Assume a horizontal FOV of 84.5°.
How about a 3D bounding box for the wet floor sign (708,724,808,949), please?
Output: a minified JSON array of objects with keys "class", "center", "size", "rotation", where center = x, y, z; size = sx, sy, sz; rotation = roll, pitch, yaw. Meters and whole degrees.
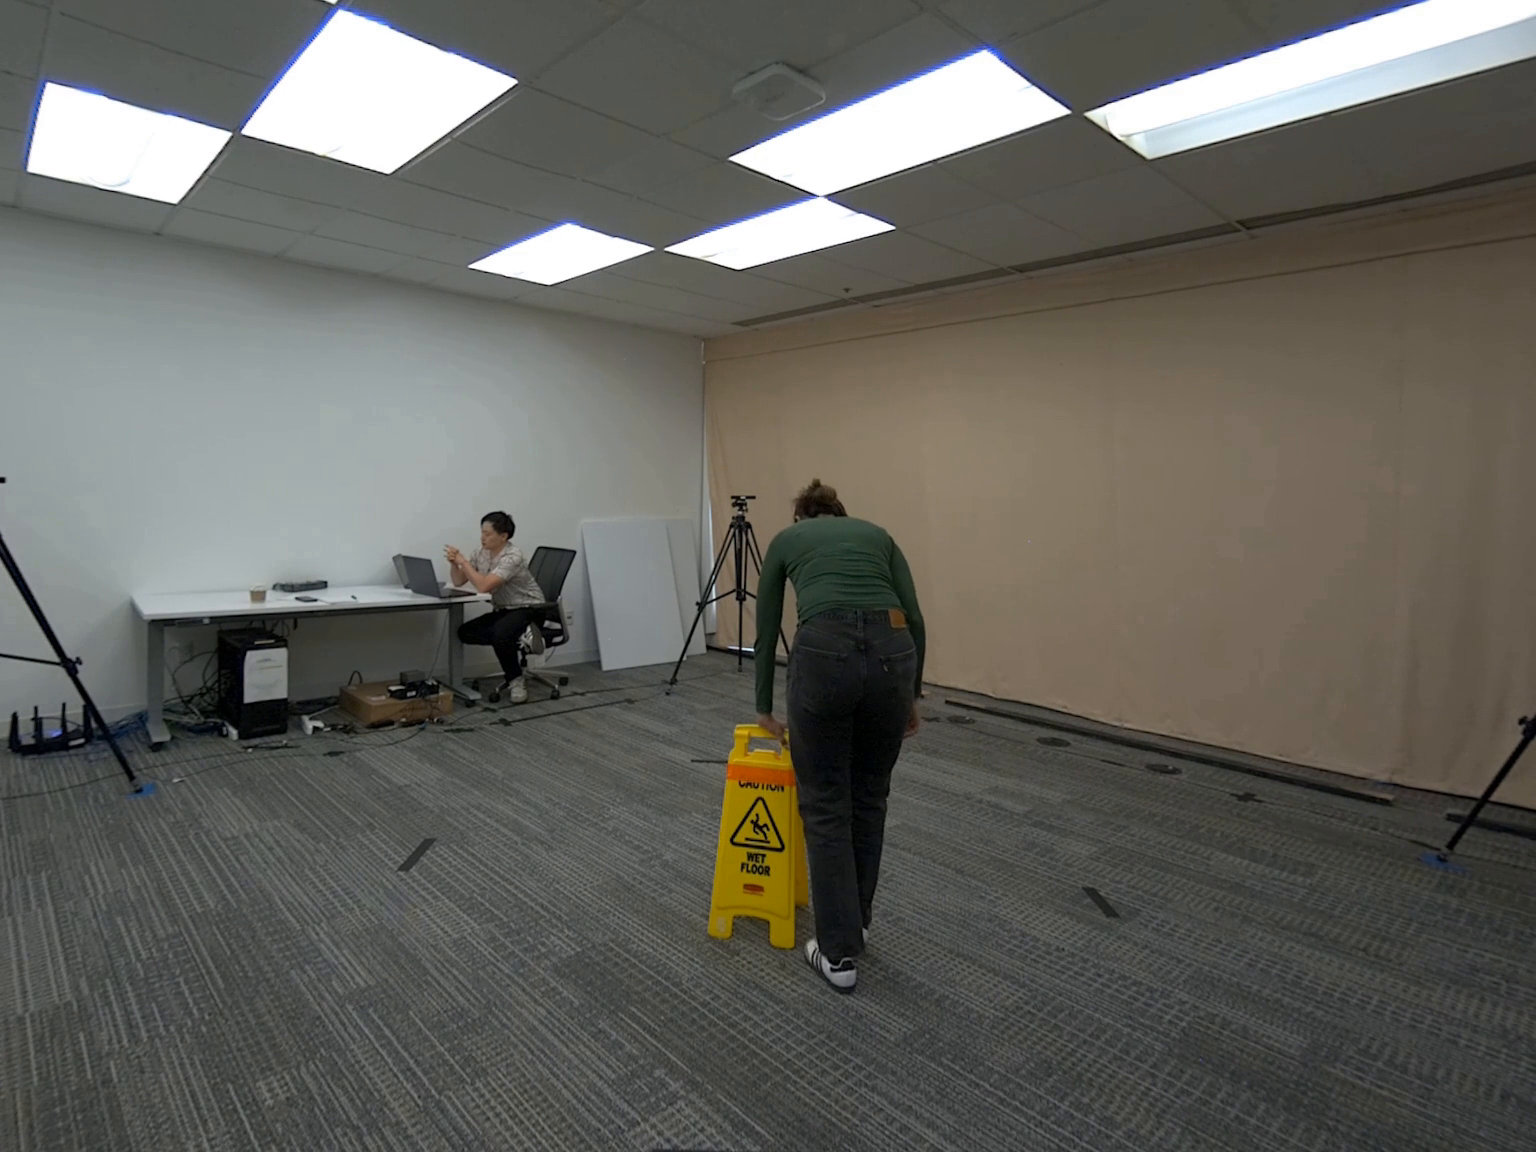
[{"class":"wet floor sign","center":[-0.026,0.813,2.763],"size":[0.285,0.644,0.287],"rotation":[3,3,11]}]
